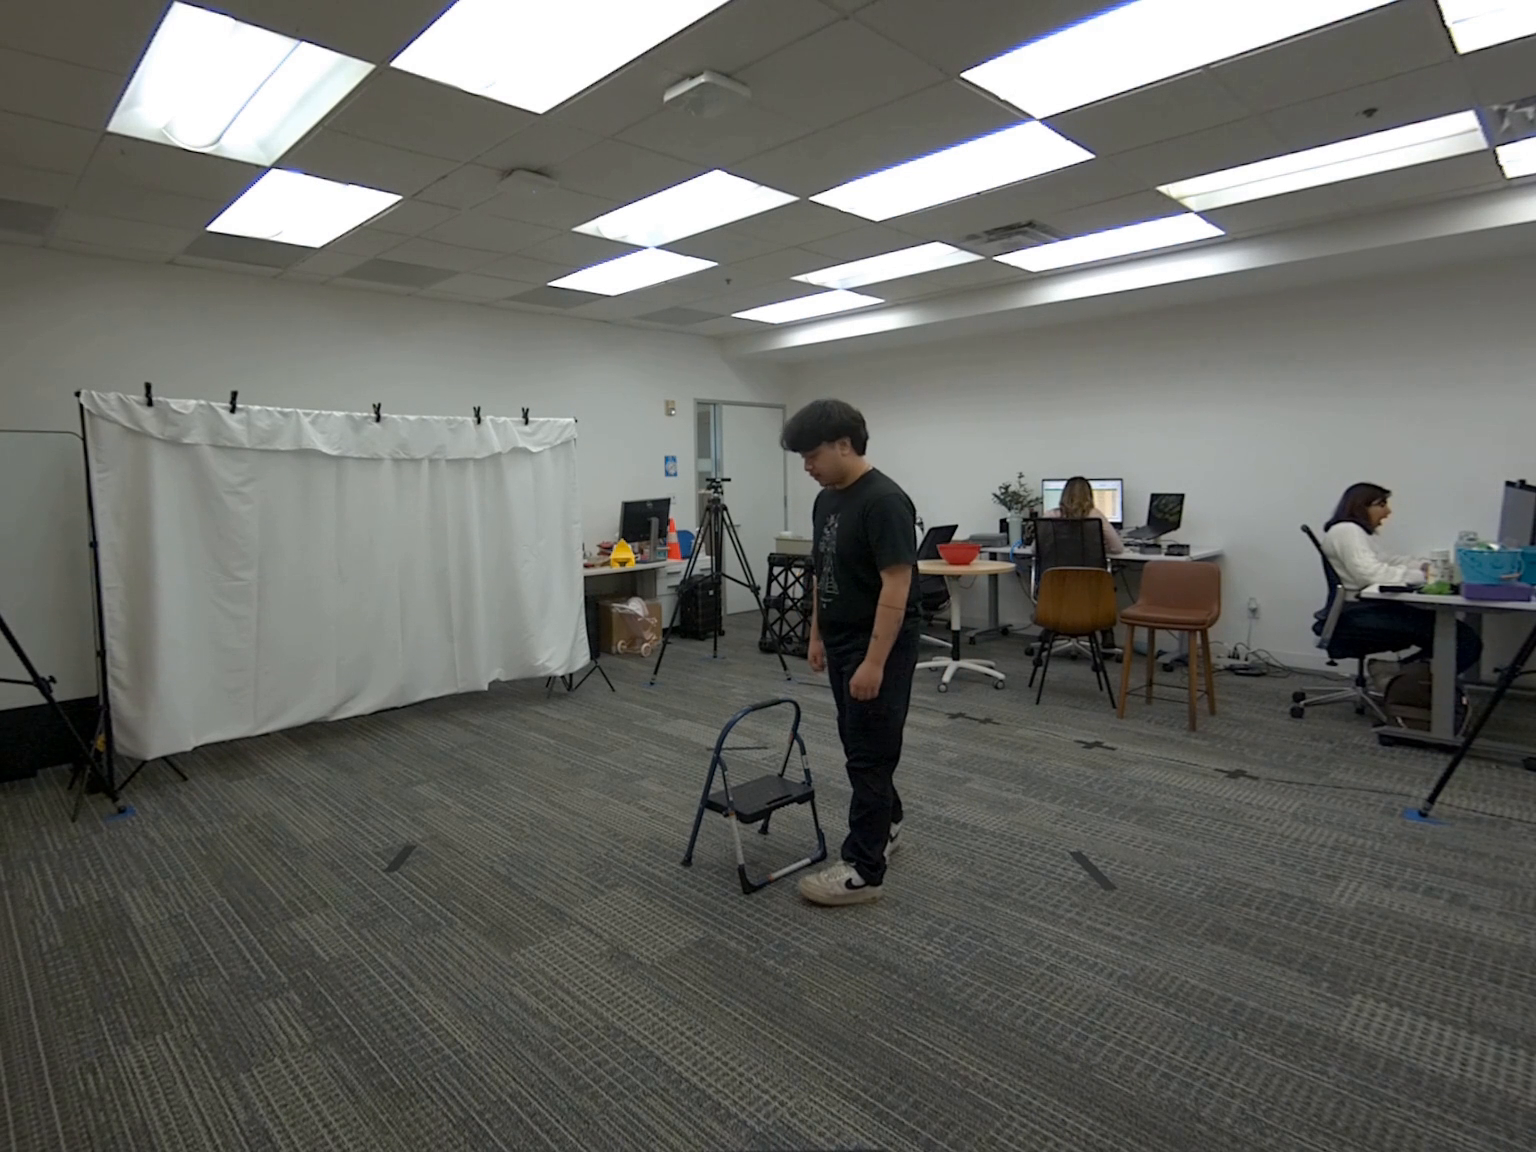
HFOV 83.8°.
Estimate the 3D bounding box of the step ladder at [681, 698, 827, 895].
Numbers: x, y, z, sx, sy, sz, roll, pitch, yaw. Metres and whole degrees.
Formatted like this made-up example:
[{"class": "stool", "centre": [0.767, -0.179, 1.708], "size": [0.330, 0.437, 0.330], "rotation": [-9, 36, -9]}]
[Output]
[{"class": "step ladder", "centre": [-0.048, 0.740, 3.106], "size": [0.419, 0.604, 0.360], "rotation": [-5, 6, -44]}]
